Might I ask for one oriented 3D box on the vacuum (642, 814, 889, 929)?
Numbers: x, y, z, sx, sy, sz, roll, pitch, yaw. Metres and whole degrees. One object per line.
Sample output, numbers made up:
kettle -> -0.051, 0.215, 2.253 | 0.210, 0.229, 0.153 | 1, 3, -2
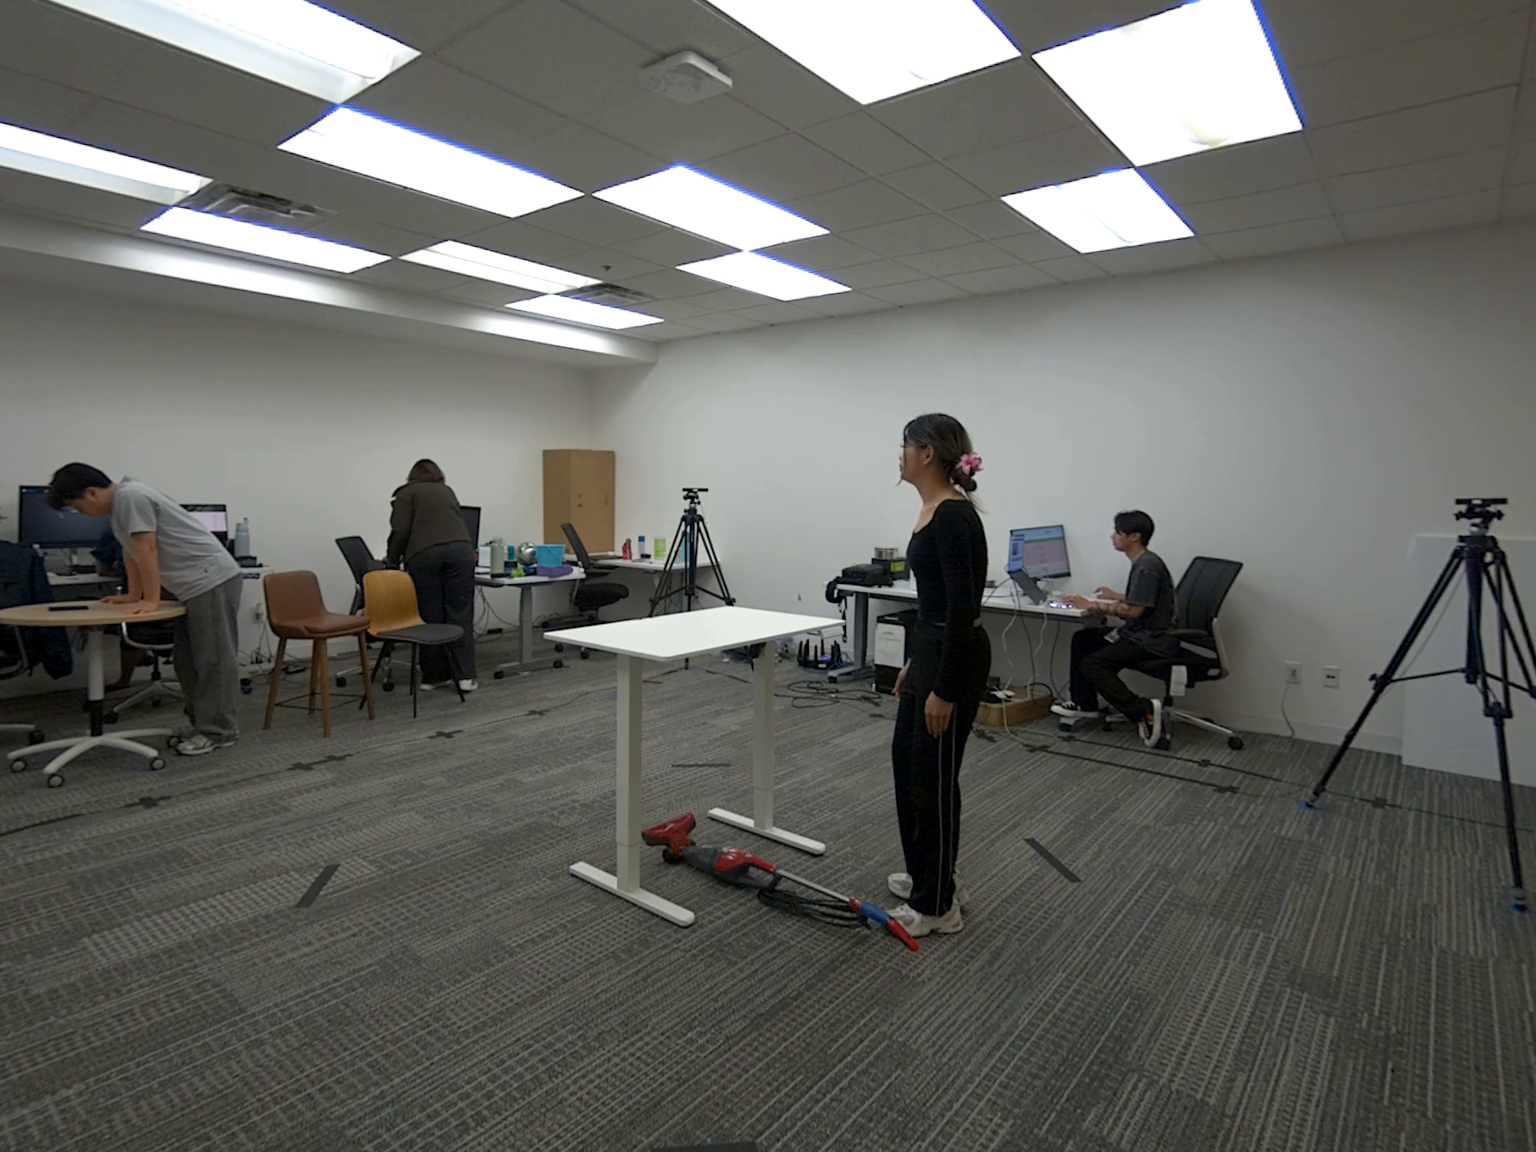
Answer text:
vacuum -> 0.029, 1.047, 2.859 | 1.086, 0.143, 0.245 | 7, 8, 42
